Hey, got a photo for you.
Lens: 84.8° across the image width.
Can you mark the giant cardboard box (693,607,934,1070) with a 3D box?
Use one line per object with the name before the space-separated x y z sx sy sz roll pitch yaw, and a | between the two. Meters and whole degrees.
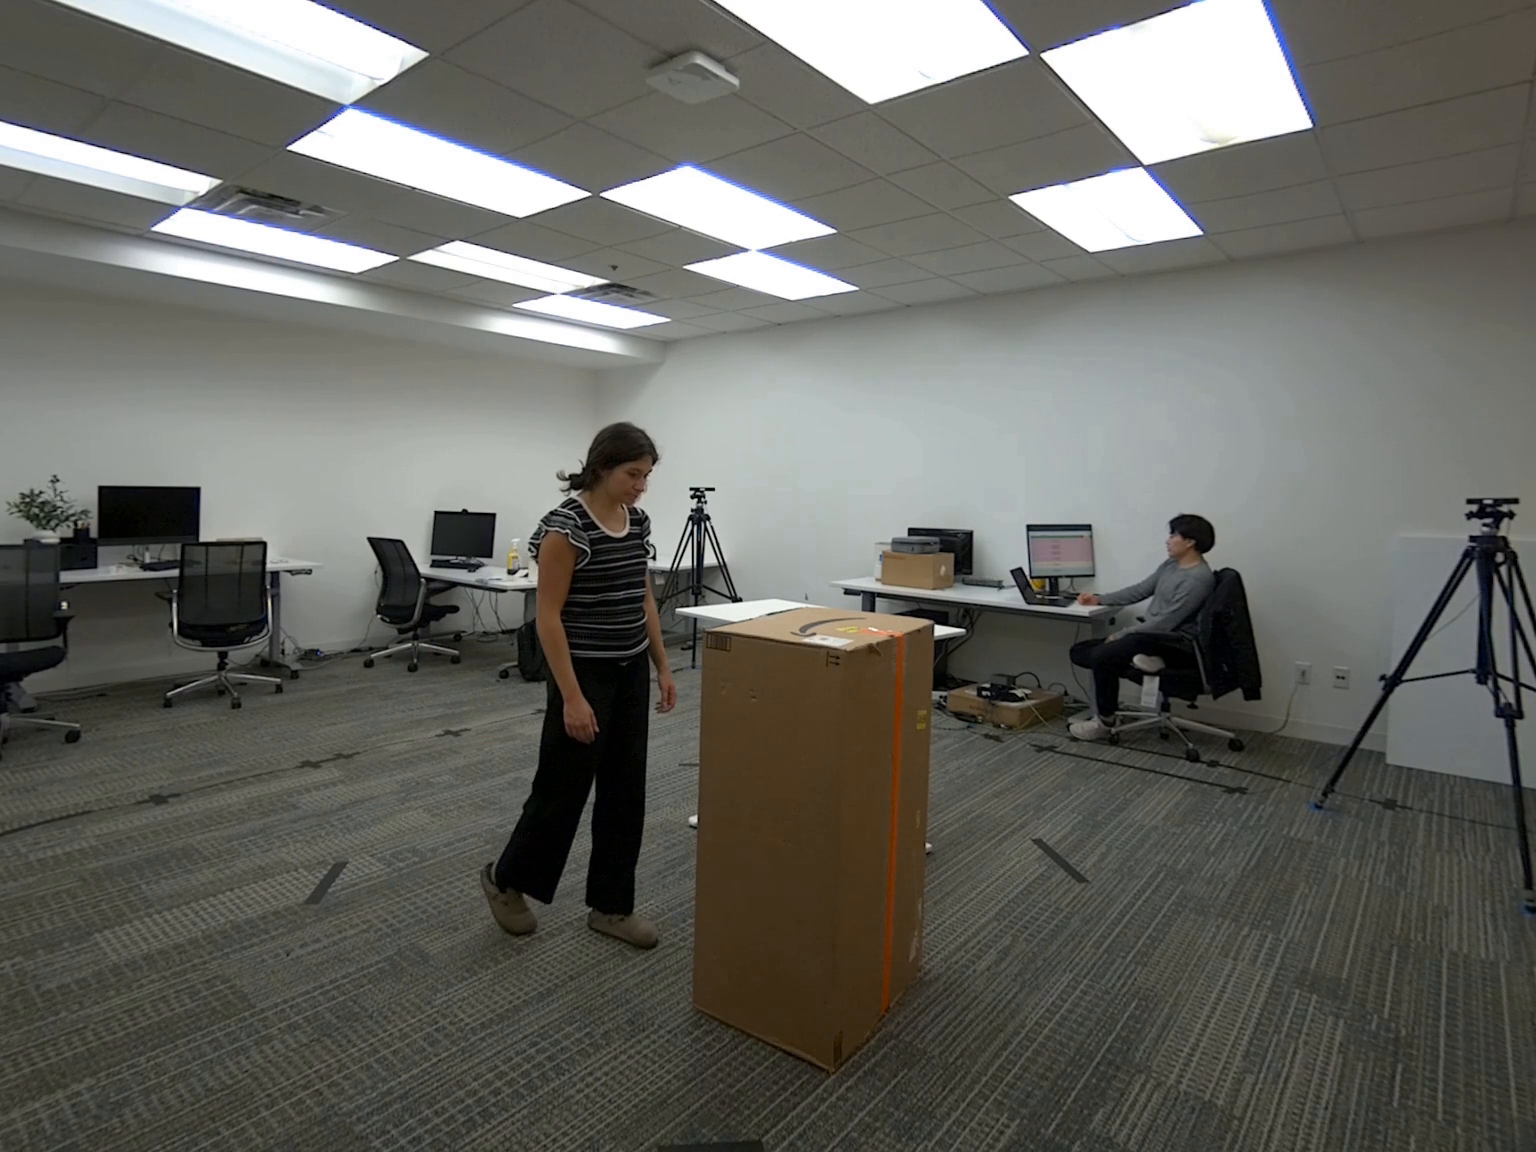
giant cardboard box | 0.132 0.642 2.350 0.439 1.023 0.562 3 4 32
